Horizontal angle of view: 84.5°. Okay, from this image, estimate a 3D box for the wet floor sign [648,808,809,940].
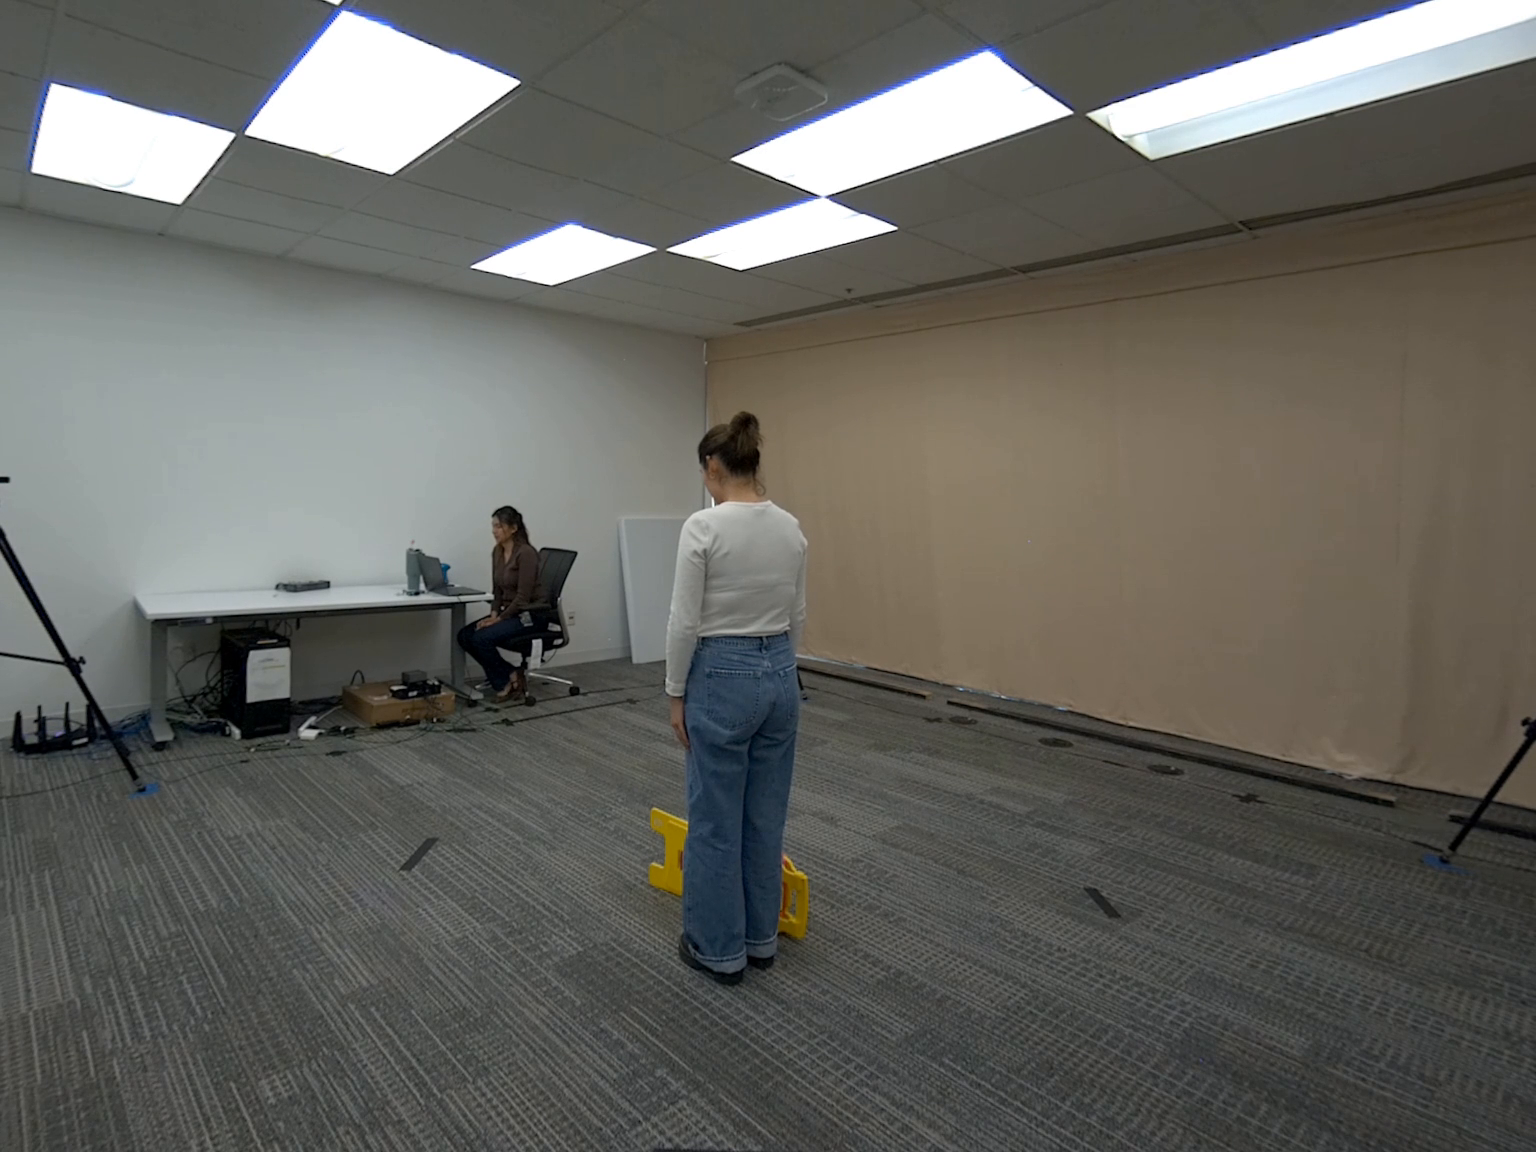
[{"bbox_3d":[-0.110,0.998,2.855,0.283,0.281,0.663,-4,8,-42],"label":"wet floor sign"}]
